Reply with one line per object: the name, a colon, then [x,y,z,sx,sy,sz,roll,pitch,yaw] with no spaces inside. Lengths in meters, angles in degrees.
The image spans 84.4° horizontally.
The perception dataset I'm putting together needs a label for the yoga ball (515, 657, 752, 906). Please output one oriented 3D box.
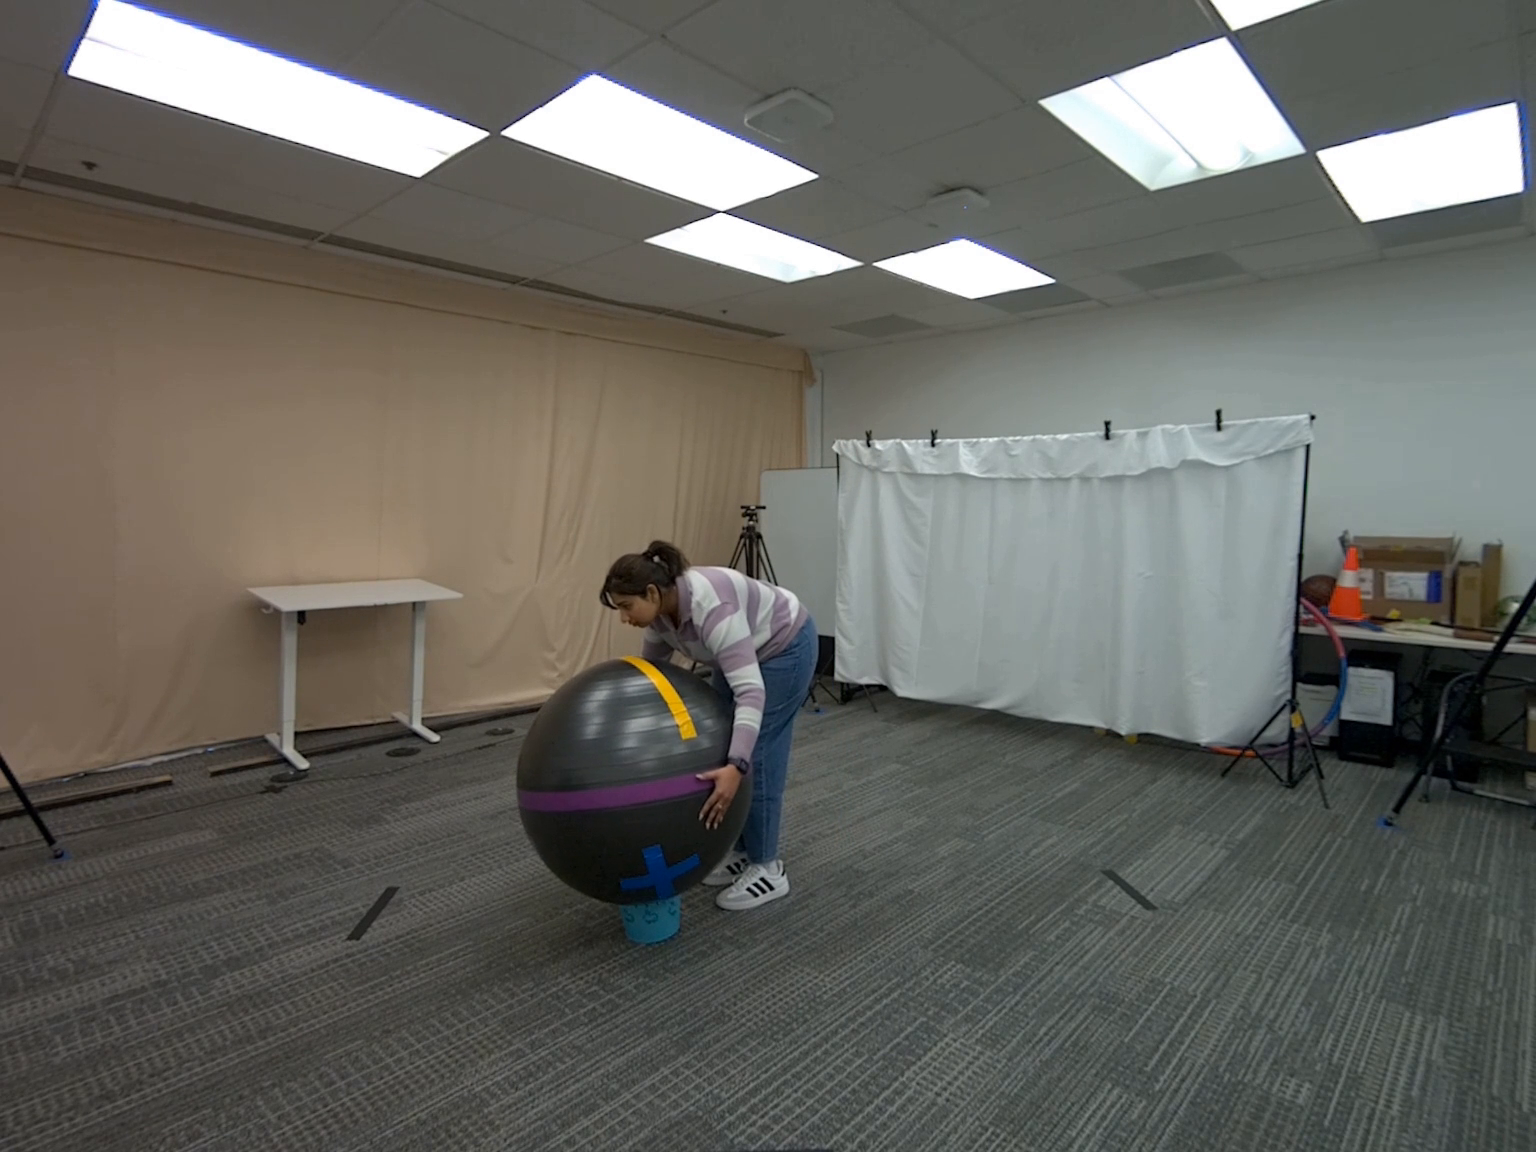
yoga ball: [-0.426,0.644,2.707,0.757,0.756,0.761,0,4,-2]
